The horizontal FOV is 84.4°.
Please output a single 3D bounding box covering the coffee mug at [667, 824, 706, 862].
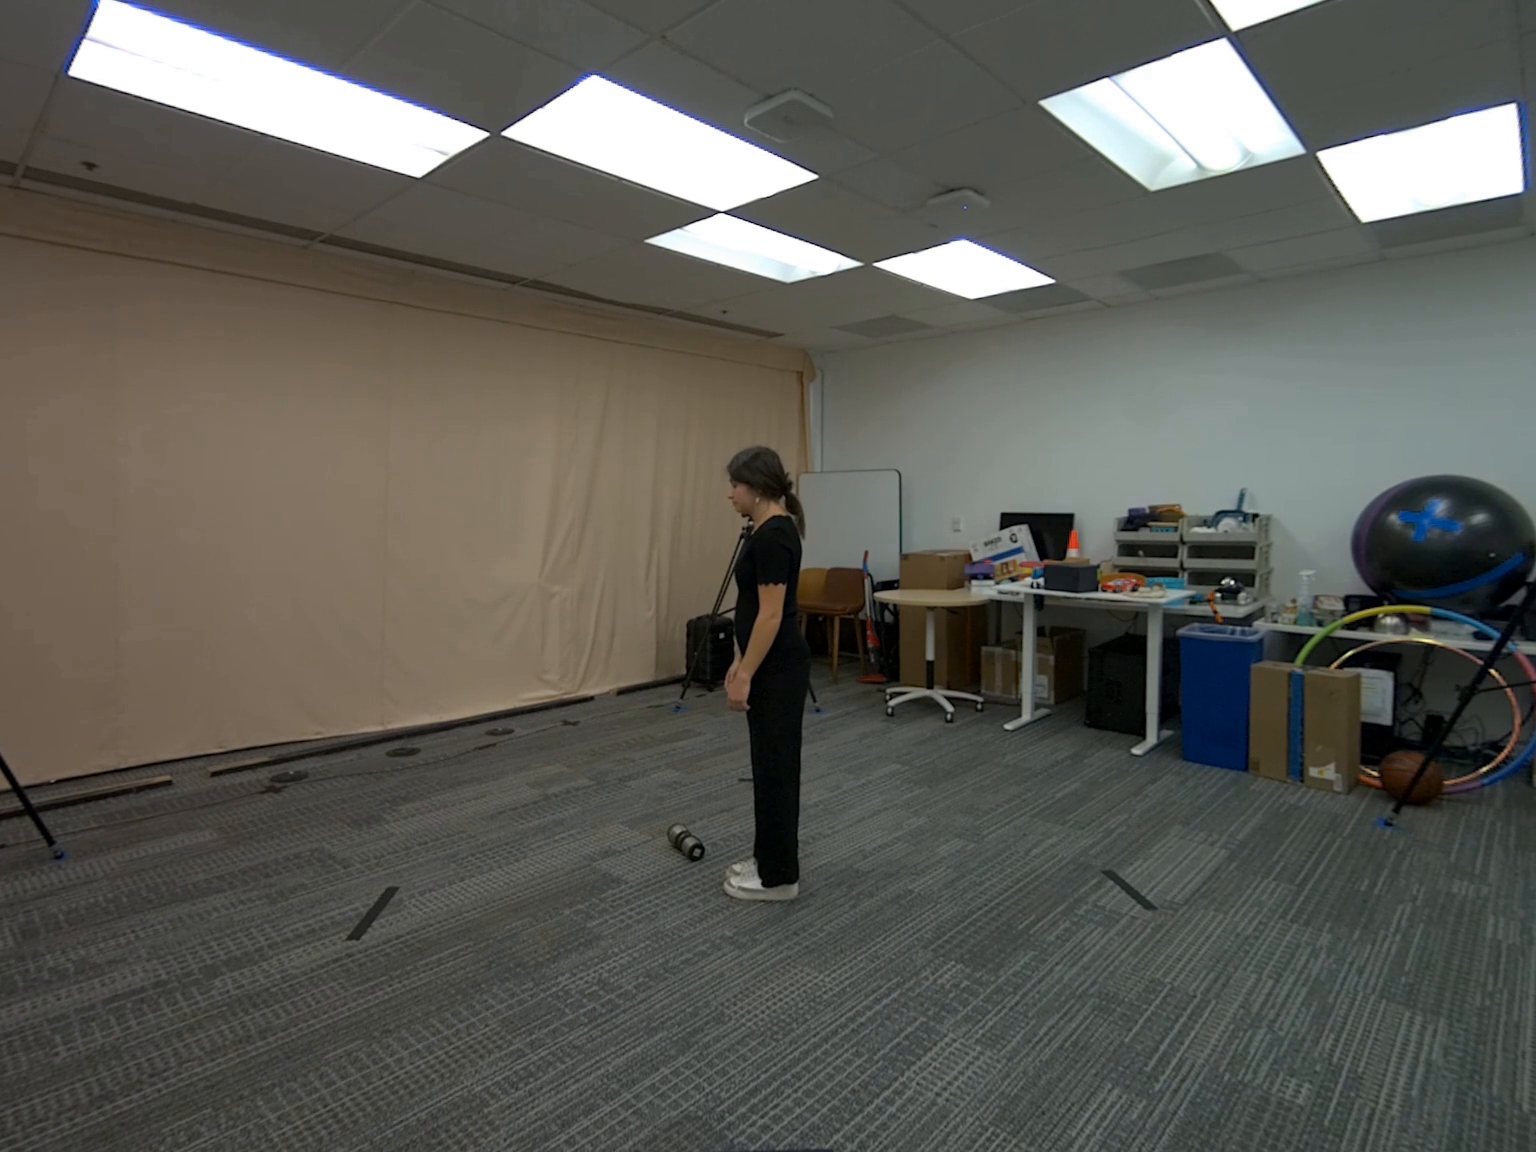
[{"bbox_3d":[-0.310,1.064,3.393,0.119,0.087,0.209,-16,13,-30],"label":"coffee mug"}]
